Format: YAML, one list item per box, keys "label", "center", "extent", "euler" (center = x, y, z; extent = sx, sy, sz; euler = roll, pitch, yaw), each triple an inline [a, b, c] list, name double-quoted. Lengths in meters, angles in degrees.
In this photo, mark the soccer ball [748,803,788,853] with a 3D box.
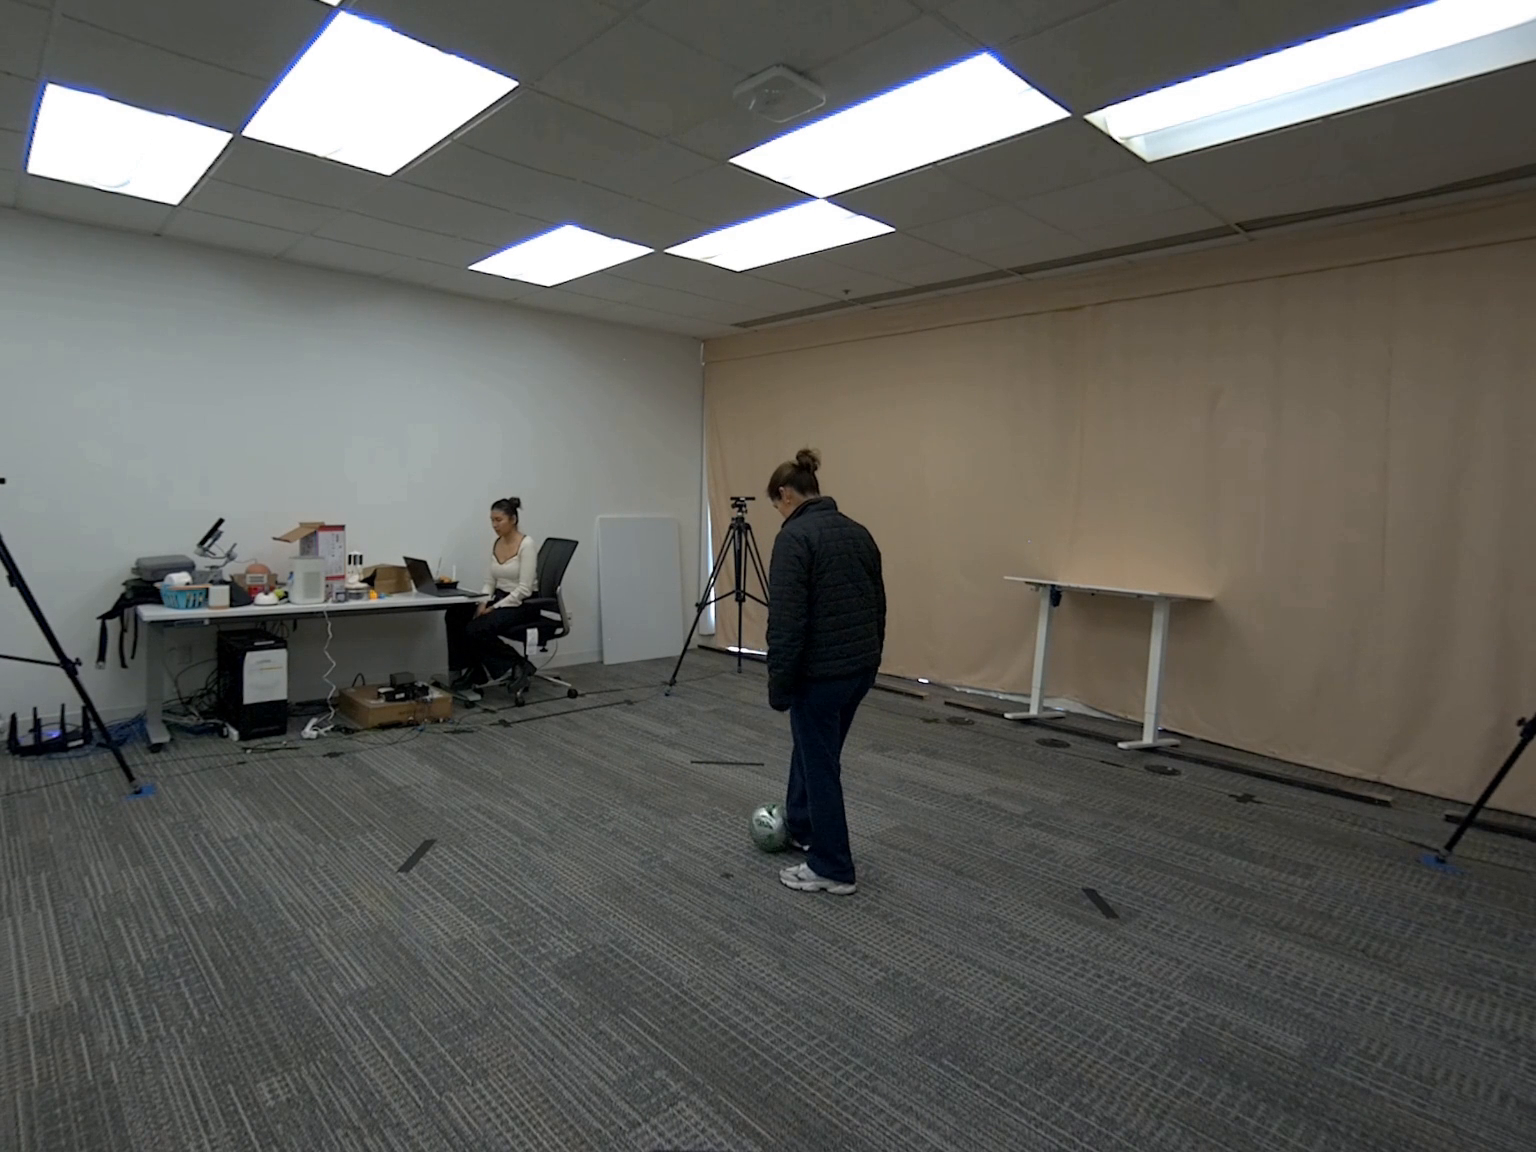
- label: "soccer ball"
  center: [0.006, 0.990, 3.349]
  extent: [0.187, 0.187, 0.188]
  euler: [1, 4, -1]
